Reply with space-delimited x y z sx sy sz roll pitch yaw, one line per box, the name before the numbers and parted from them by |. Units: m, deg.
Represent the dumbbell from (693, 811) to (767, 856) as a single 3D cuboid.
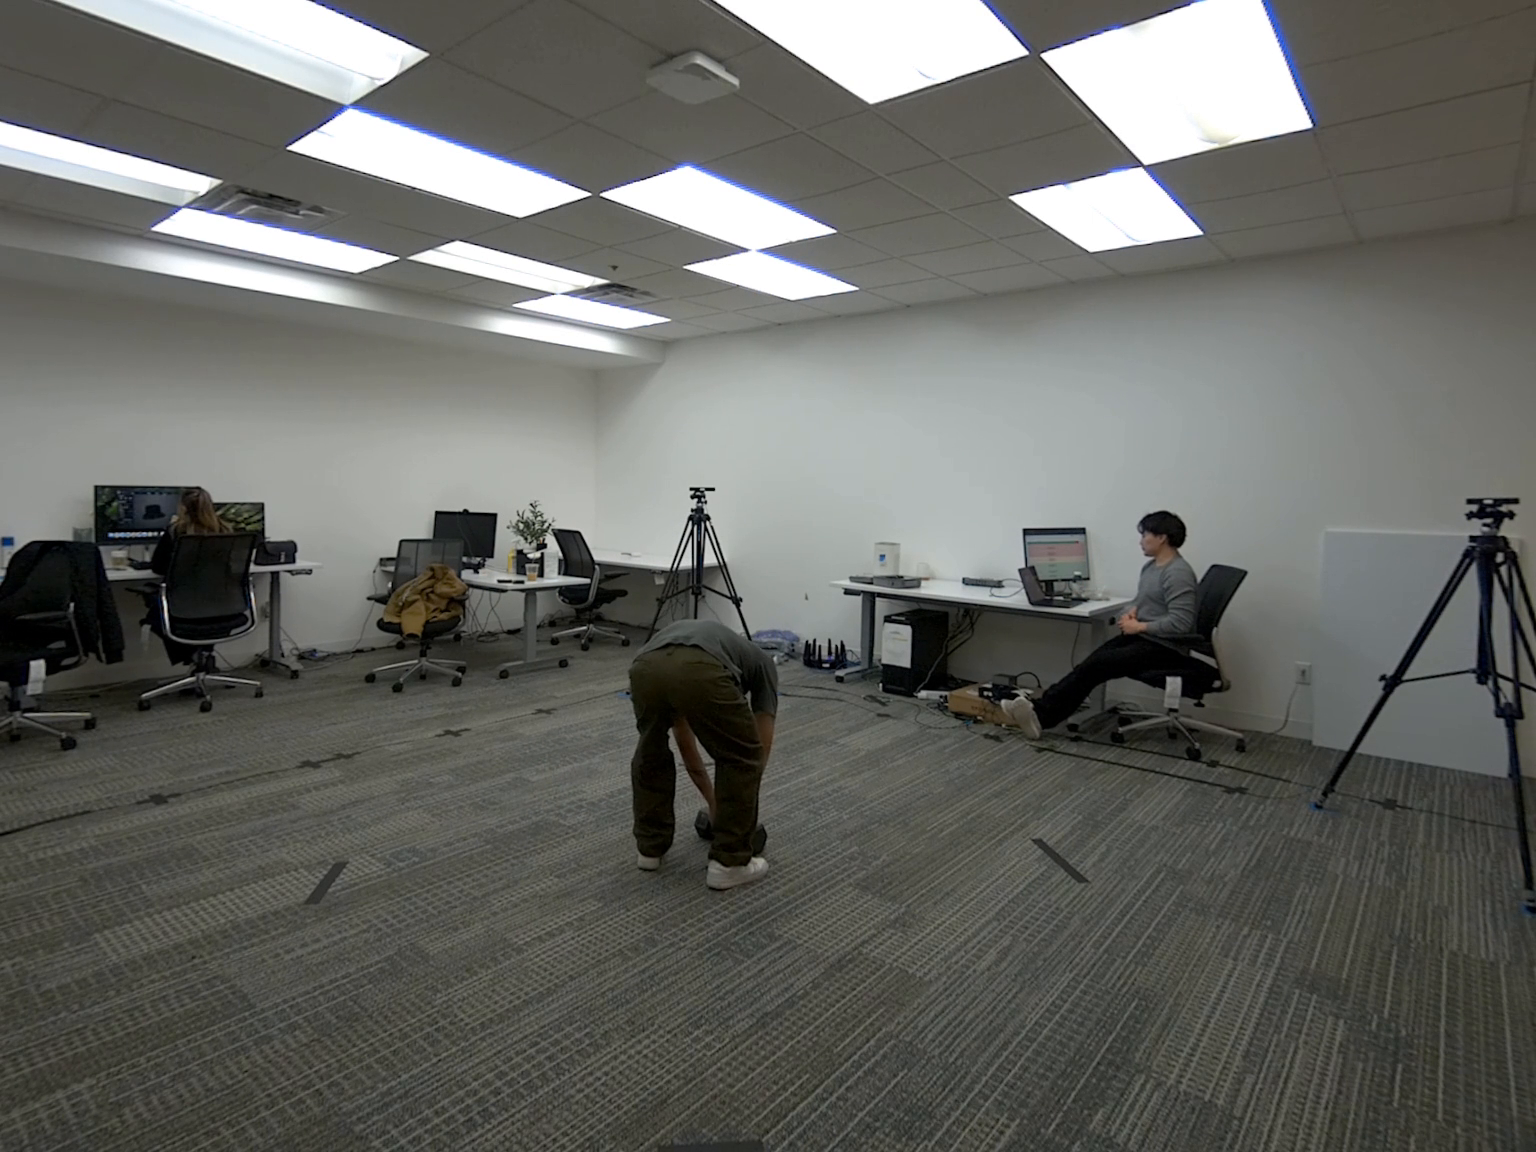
dumbbell | -0.157 0.990 3.326 0.303 0.124 0.104 5 -26 39
